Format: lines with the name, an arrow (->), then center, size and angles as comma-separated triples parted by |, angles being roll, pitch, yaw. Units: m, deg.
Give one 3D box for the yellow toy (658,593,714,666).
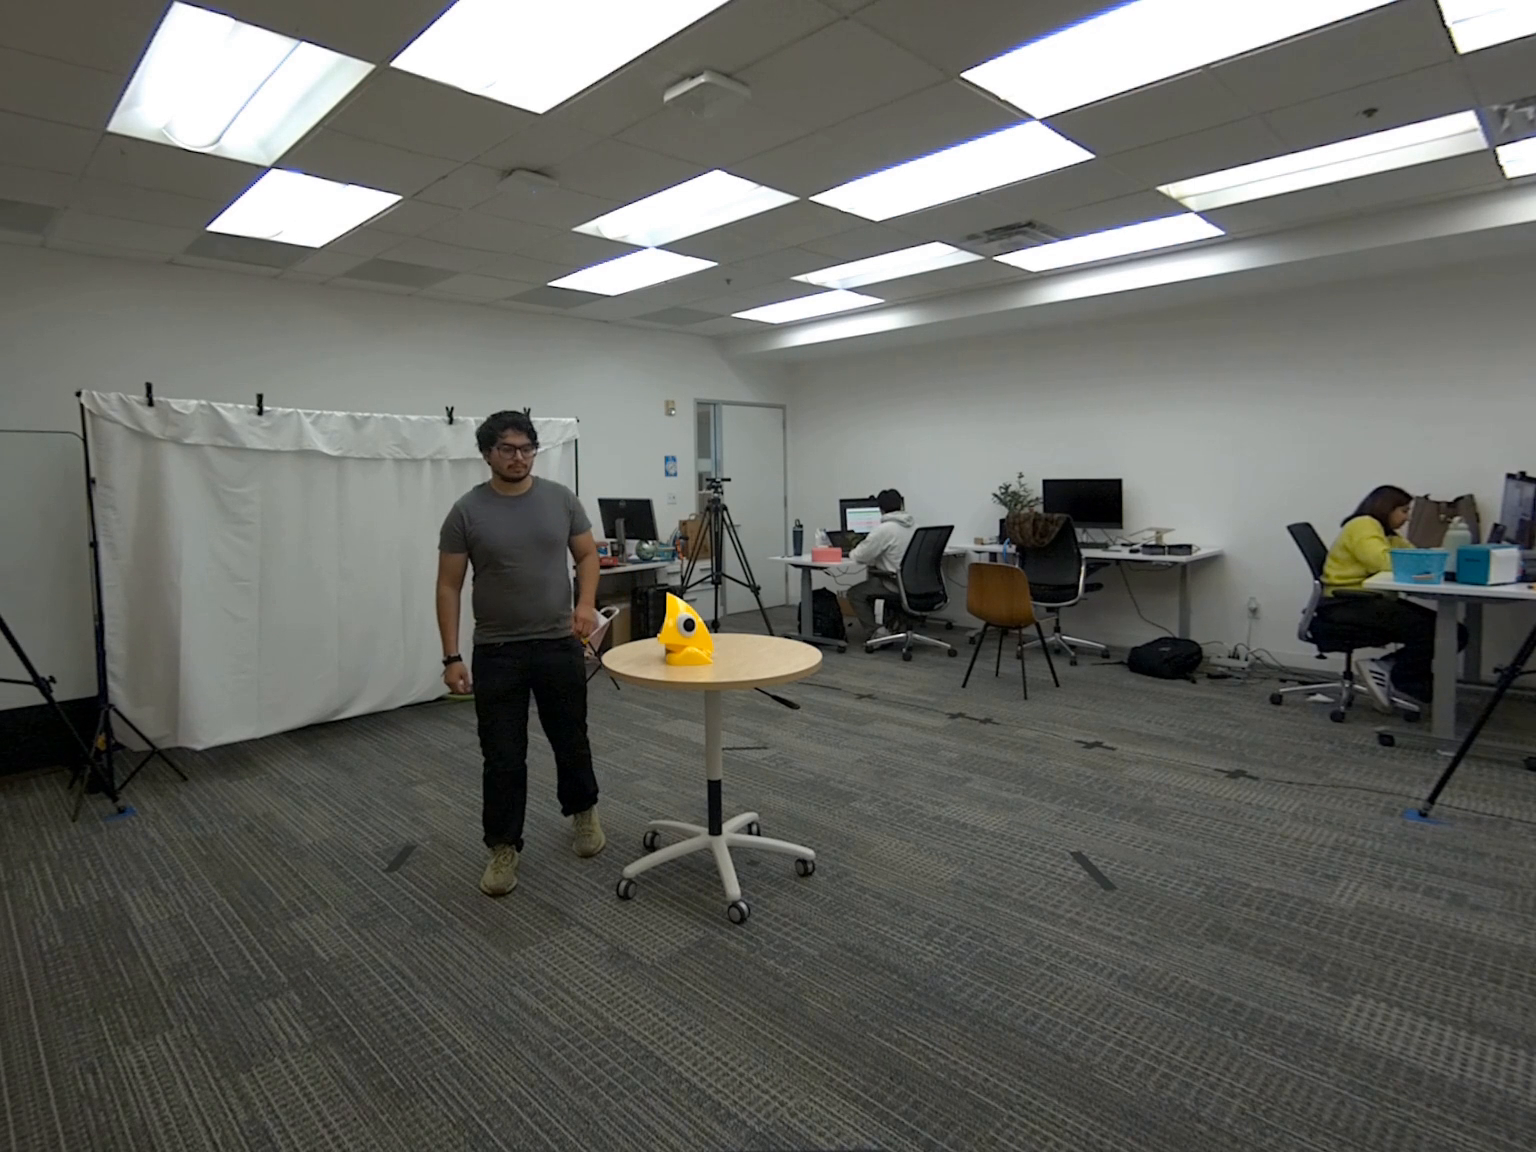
yellow toy -> -0.283, 0.170, 2.914 | 0.192, 0.230, 0.206 | -1, 5, -4
